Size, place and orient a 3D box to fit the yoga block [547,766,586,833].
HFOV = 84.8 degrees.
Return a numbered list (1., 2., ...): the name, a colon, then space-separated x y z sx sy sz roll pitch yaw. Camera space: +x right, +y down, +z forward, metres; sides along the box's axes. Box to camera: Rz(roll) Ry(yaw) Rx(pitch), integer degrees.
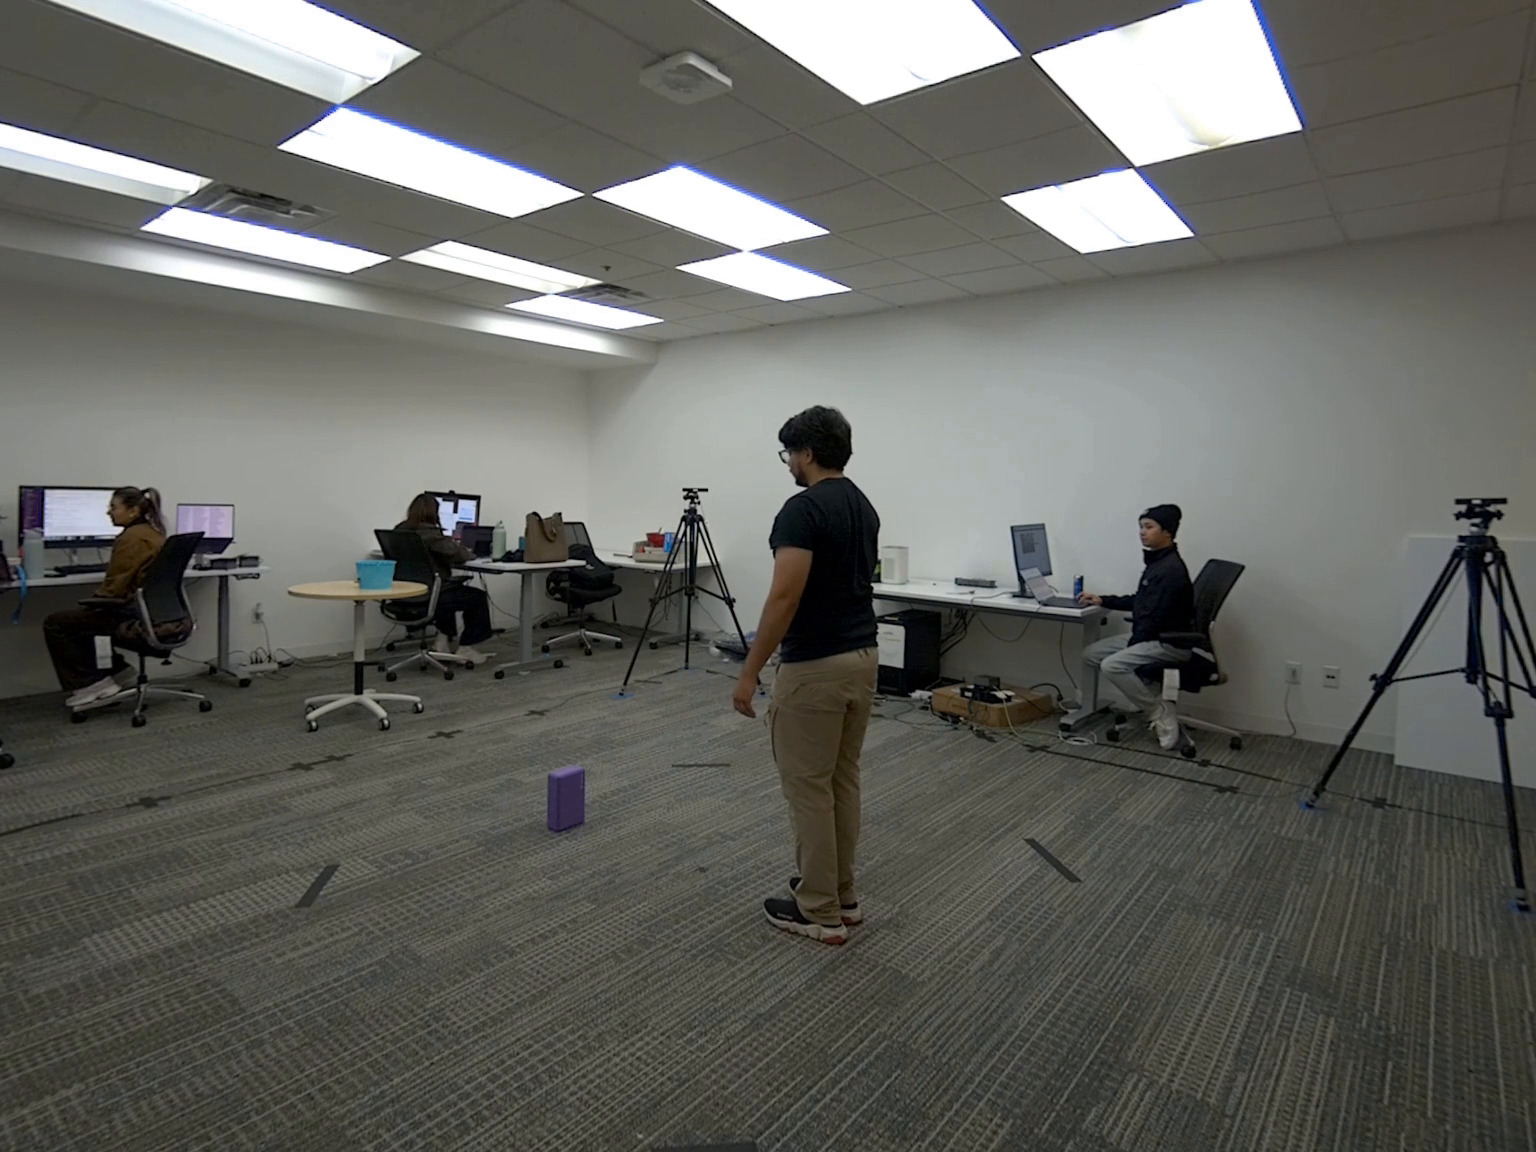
1. yoga block: -0.841 0.908 3.489 0.079 0.229 0.144 3 3 37
